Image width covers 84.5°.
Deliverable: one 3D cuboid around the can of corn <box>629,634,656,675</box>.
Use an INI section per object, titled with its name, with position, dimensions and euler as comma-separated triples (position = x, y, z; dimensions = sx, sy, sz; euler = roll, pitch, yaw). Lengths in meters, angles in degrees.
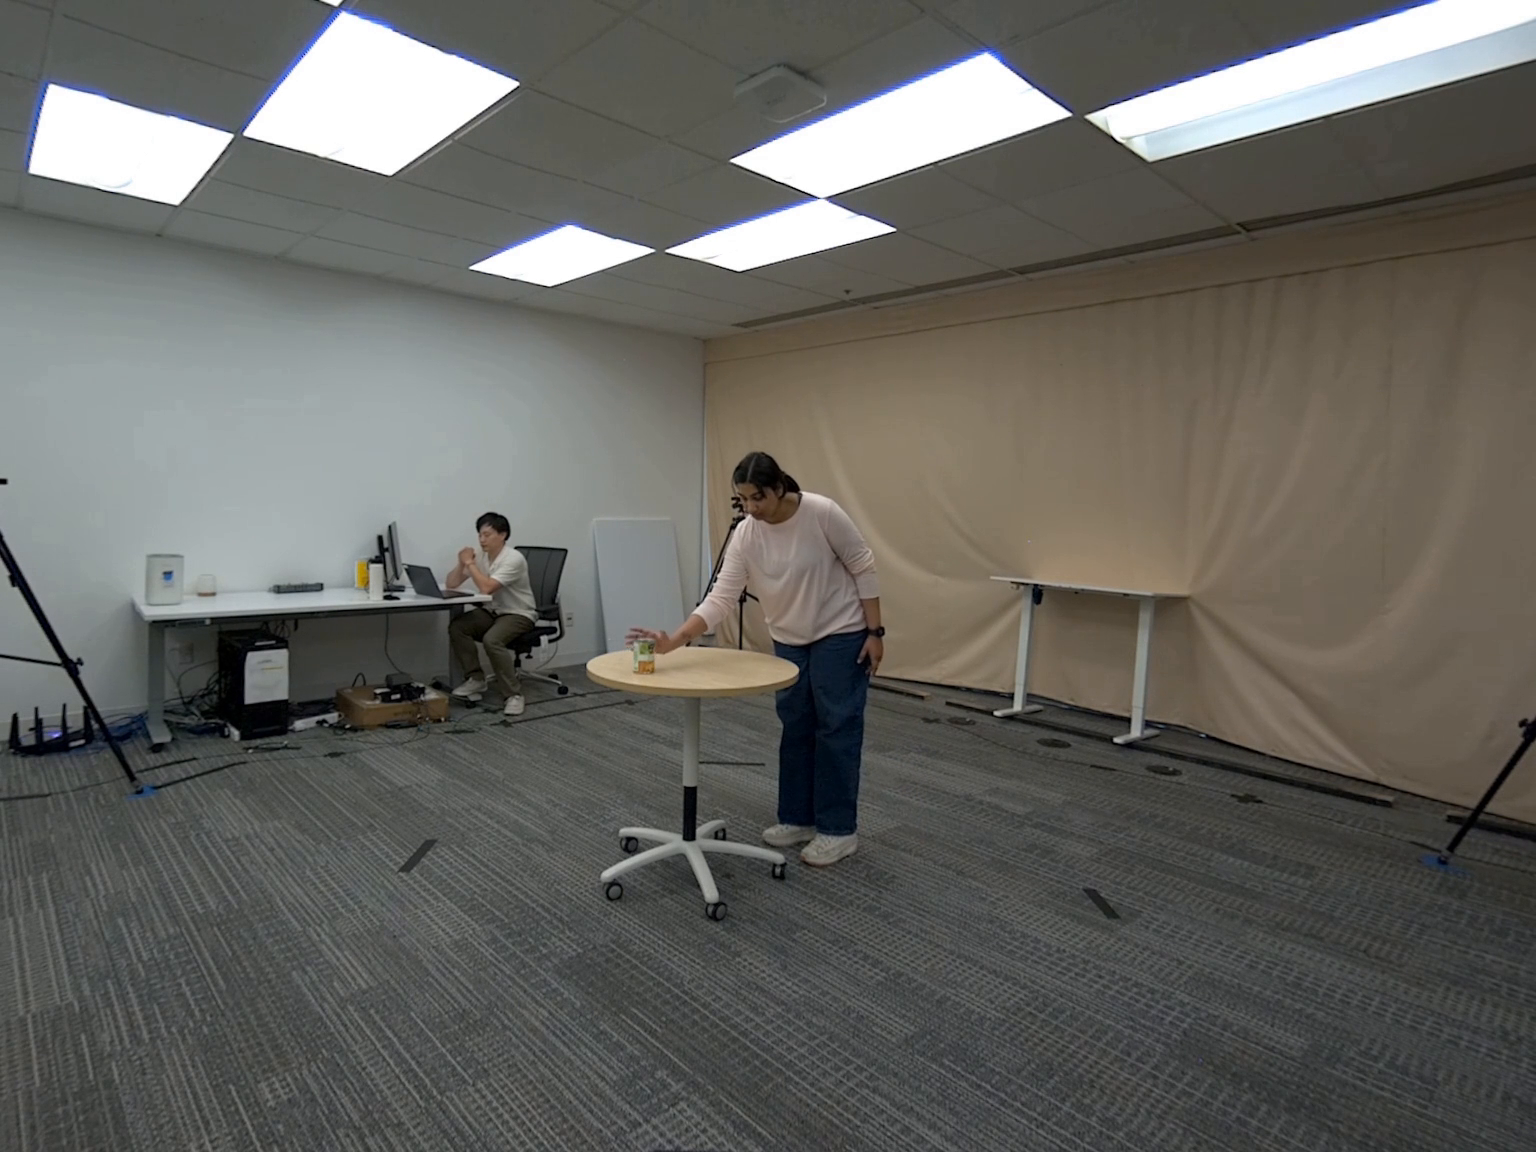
[can of corn]
position = -0.442, 0.280, 2.895
dimensions = 0.074, 0.111, 0.074
euler = -1, 2, -1
